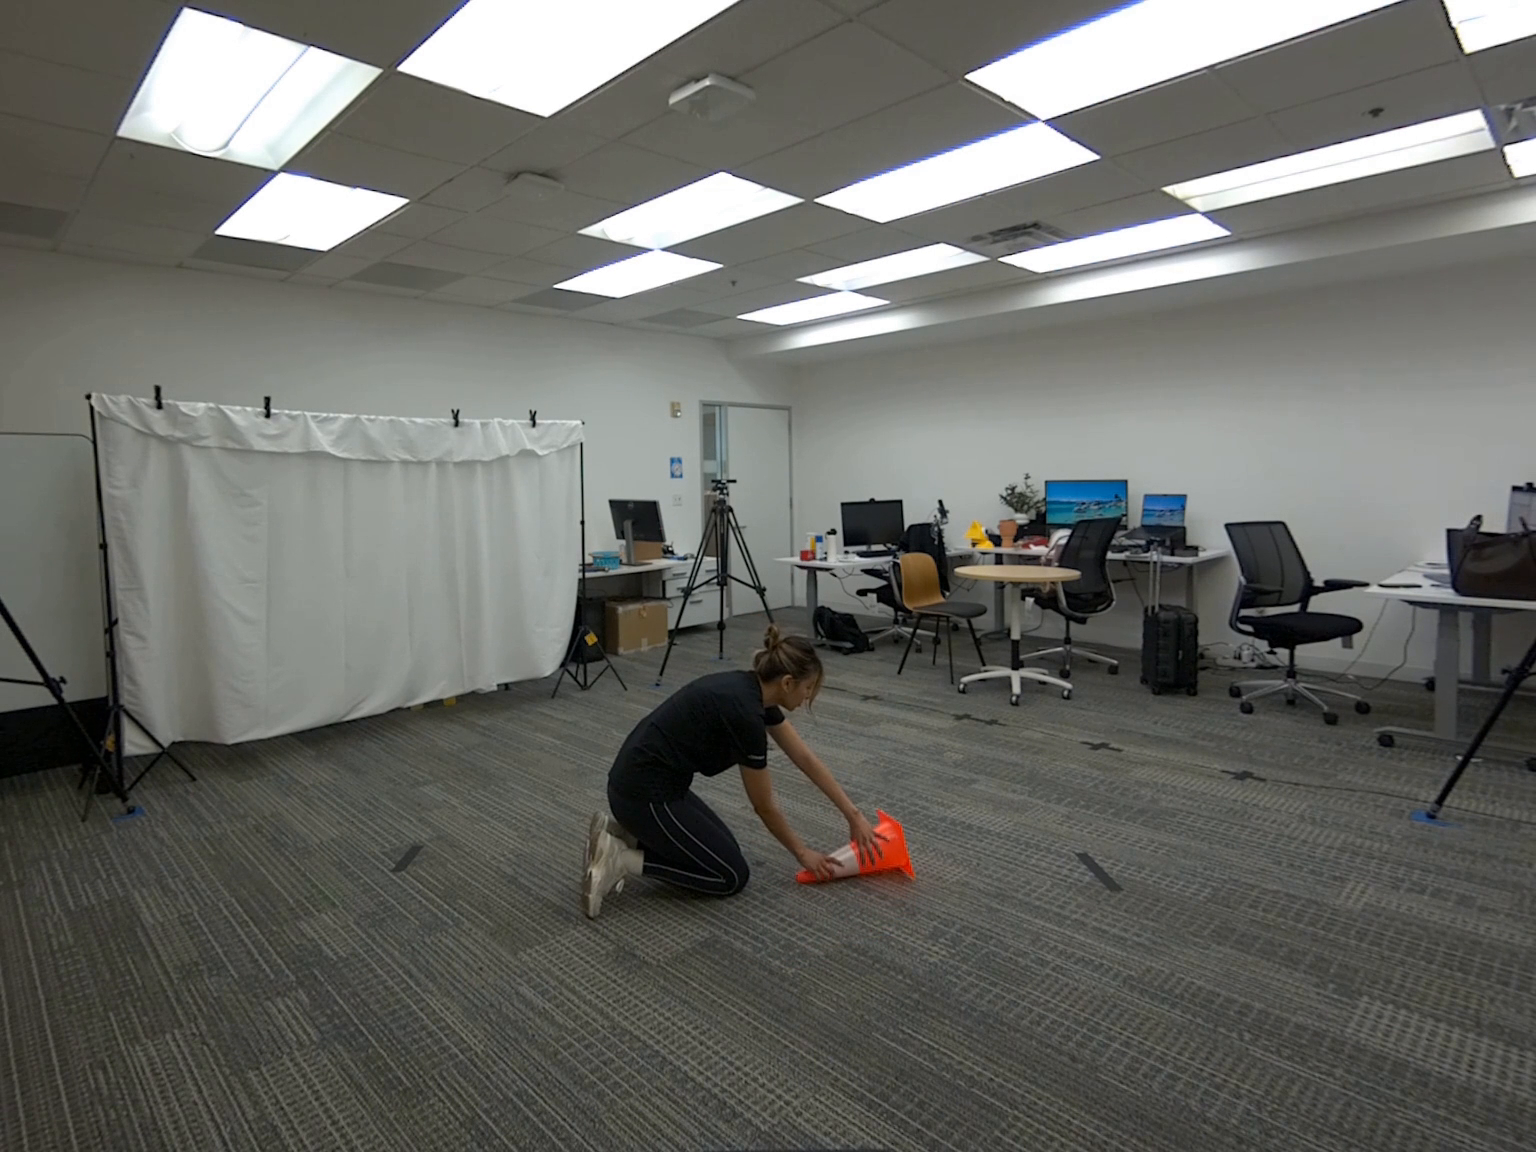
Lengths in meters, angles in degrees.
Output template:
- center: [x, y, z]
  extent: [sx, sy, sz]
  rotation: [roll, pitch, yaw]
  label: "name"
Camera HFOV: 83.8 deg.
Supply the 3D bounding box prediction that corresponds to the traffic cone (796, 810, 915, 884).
- center: [0.280, 1.001, 2.998]
  extent: [0.380, 0.202, 0.208]
  rotation: [-17, 6, -13]
  label: "traffic cone"
